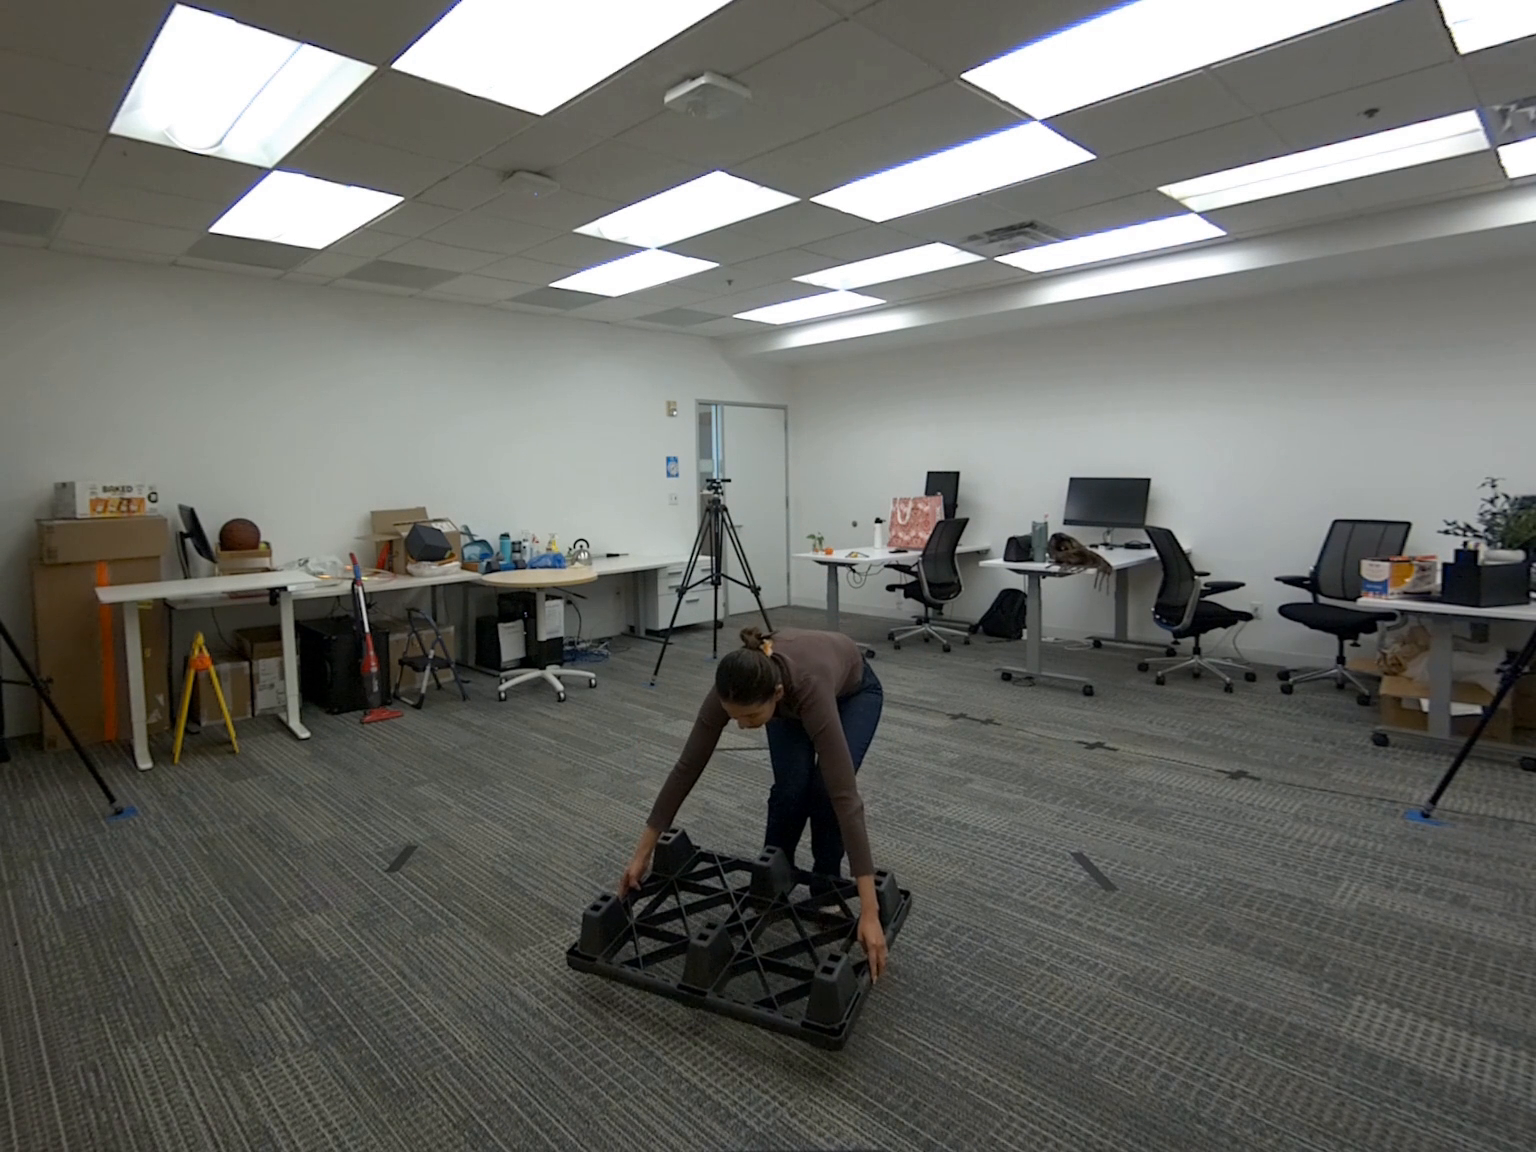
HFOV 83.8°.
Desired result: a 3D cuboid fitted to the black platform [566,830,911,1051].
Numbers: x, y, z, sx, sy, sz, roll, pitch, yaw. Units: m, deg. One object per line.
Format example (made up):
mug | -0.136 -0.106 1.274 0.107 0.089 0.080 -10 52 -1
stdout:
black platform | -0.075 0.944 2.369 0.825 0.142 0.597 1 14 28
